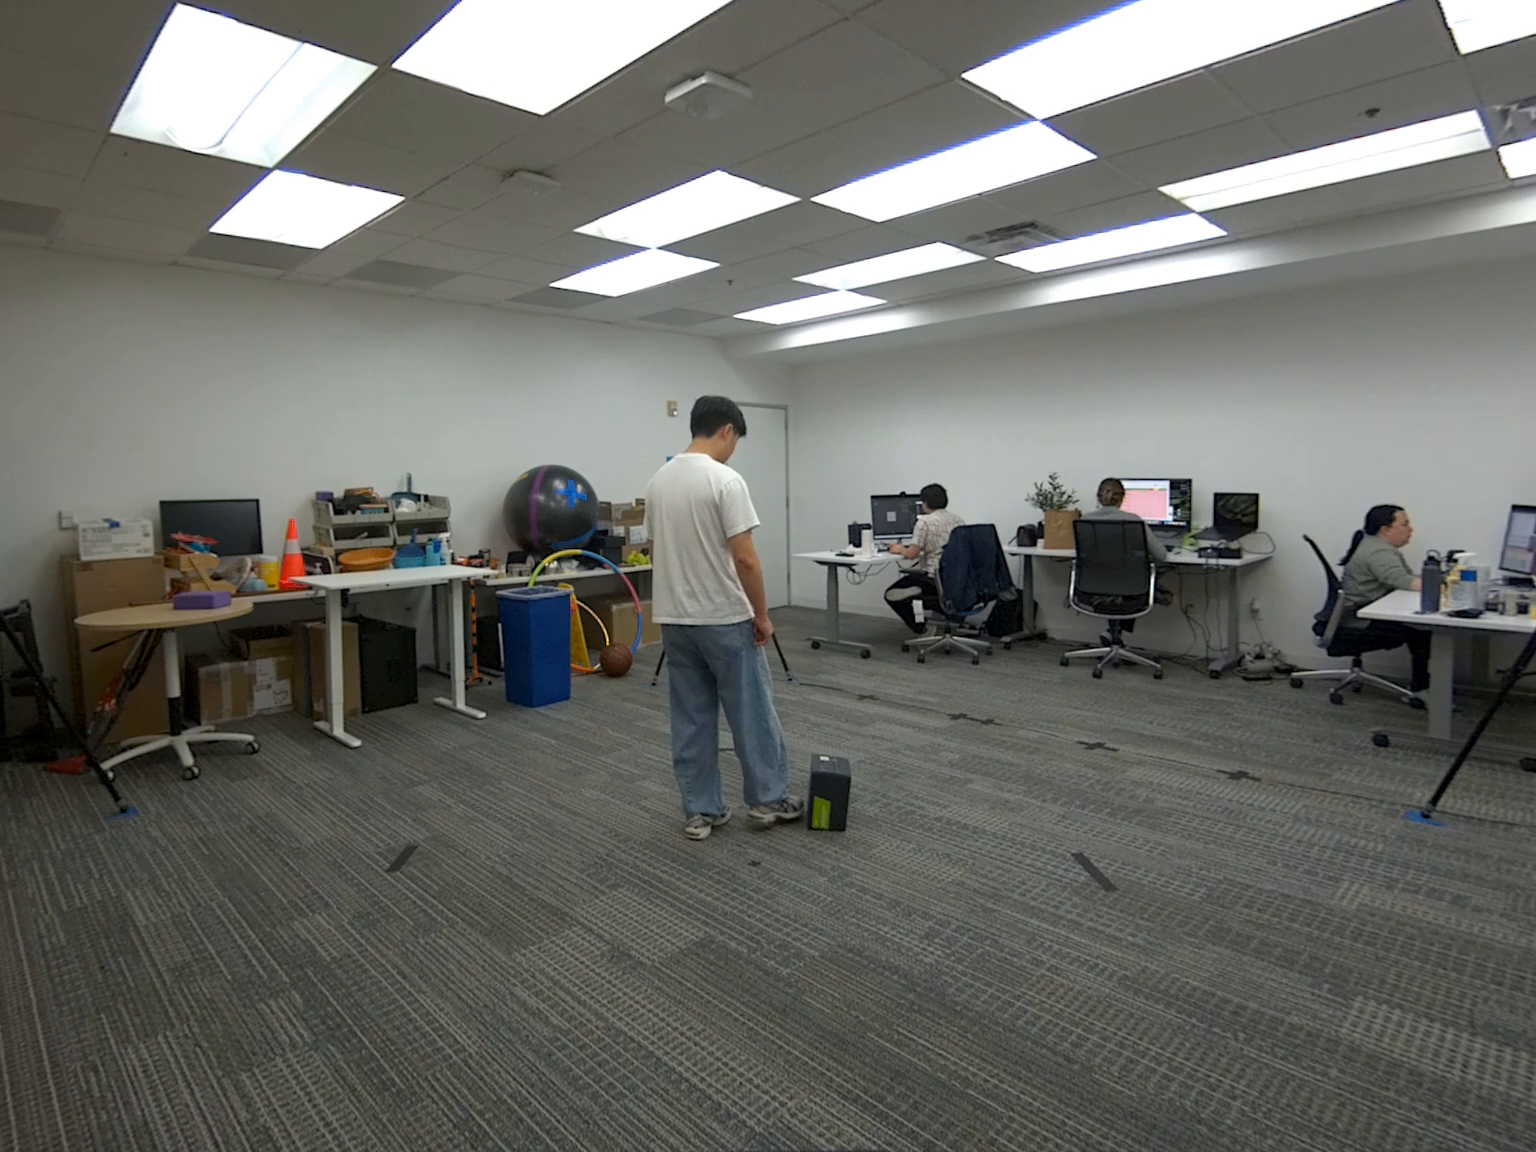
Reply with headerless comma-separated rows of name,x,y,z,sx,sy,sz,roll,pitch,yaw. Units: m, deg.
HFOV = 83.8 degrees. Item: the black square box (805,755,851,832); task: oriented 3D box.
black square box,0.234,0.872,3.477,0.156,0.227,0.217,3,5,3
